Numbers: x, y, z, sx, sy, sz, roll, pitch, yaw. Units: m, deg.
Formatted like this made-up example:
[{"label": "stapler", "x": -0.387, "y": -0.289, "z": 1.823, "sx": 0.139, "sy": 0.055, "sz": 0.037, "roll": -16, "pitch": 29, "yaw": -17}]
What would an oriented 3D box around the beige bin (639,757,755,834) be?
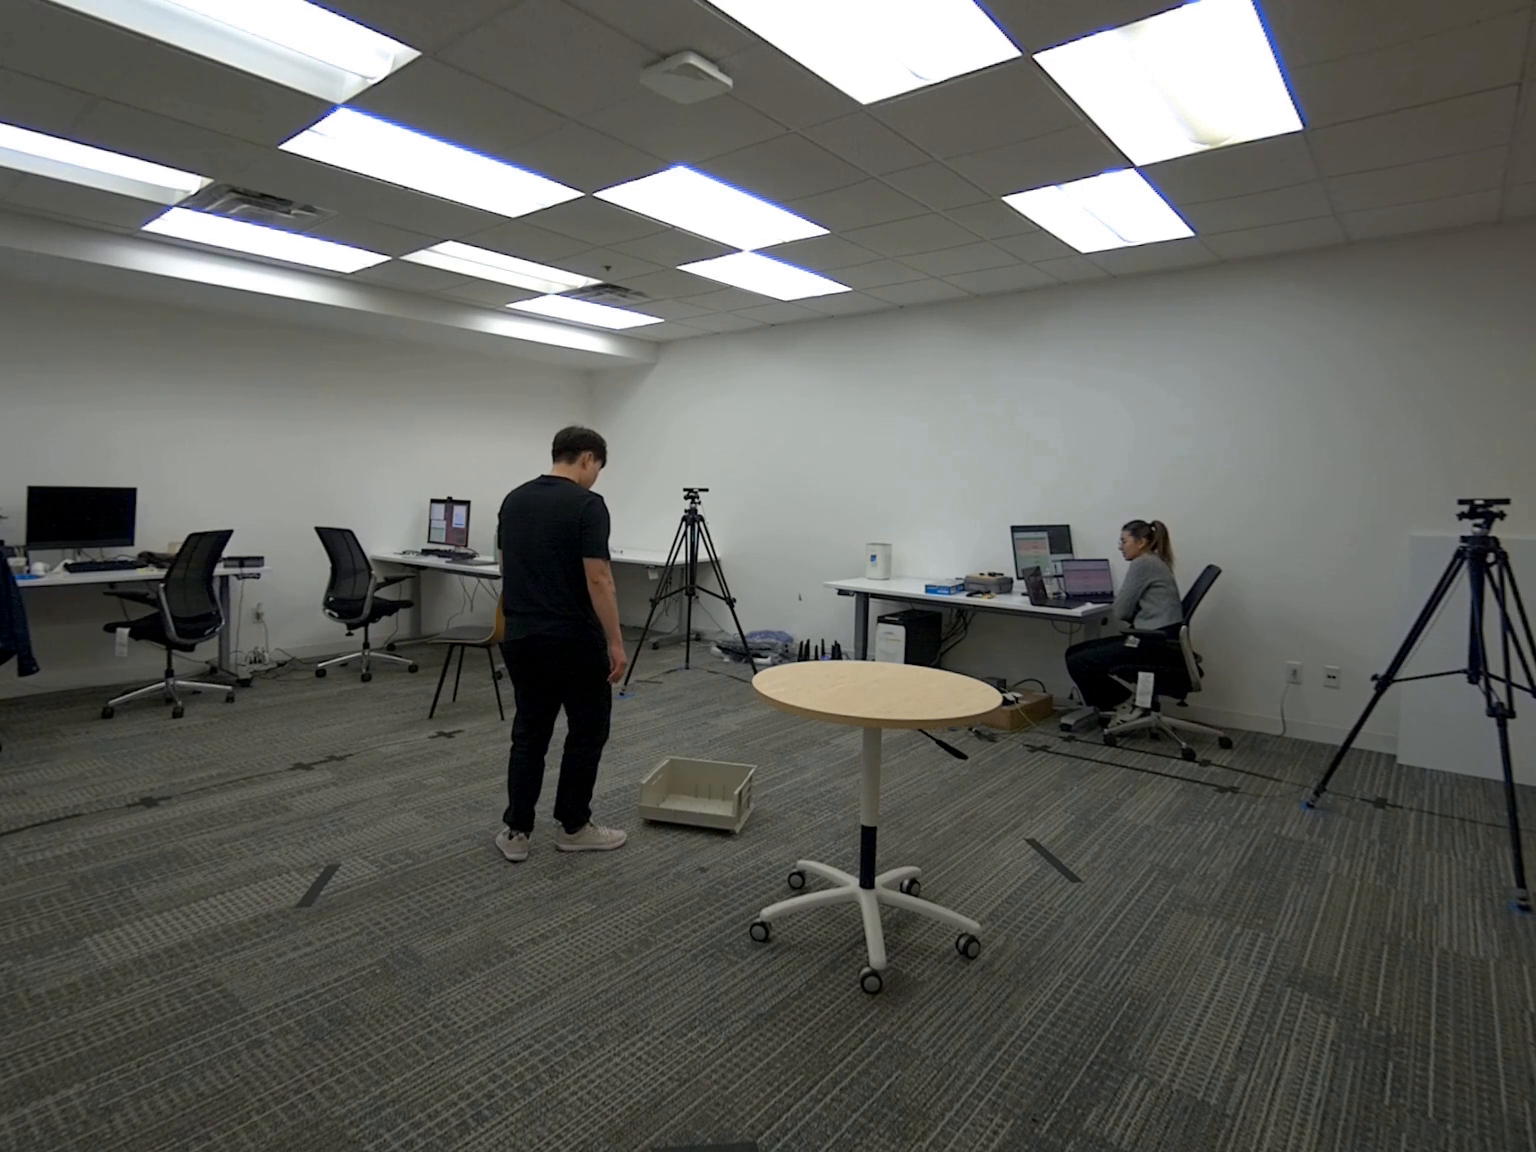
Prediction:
[{"label": "beige bin", "x": -0.304, "y": 0.929, "z": 3.619, "sx": 0.429, "sy": 0.188, "sz": 0.372, "roll": 2, "pitch": 4, "yaw": 13}]
